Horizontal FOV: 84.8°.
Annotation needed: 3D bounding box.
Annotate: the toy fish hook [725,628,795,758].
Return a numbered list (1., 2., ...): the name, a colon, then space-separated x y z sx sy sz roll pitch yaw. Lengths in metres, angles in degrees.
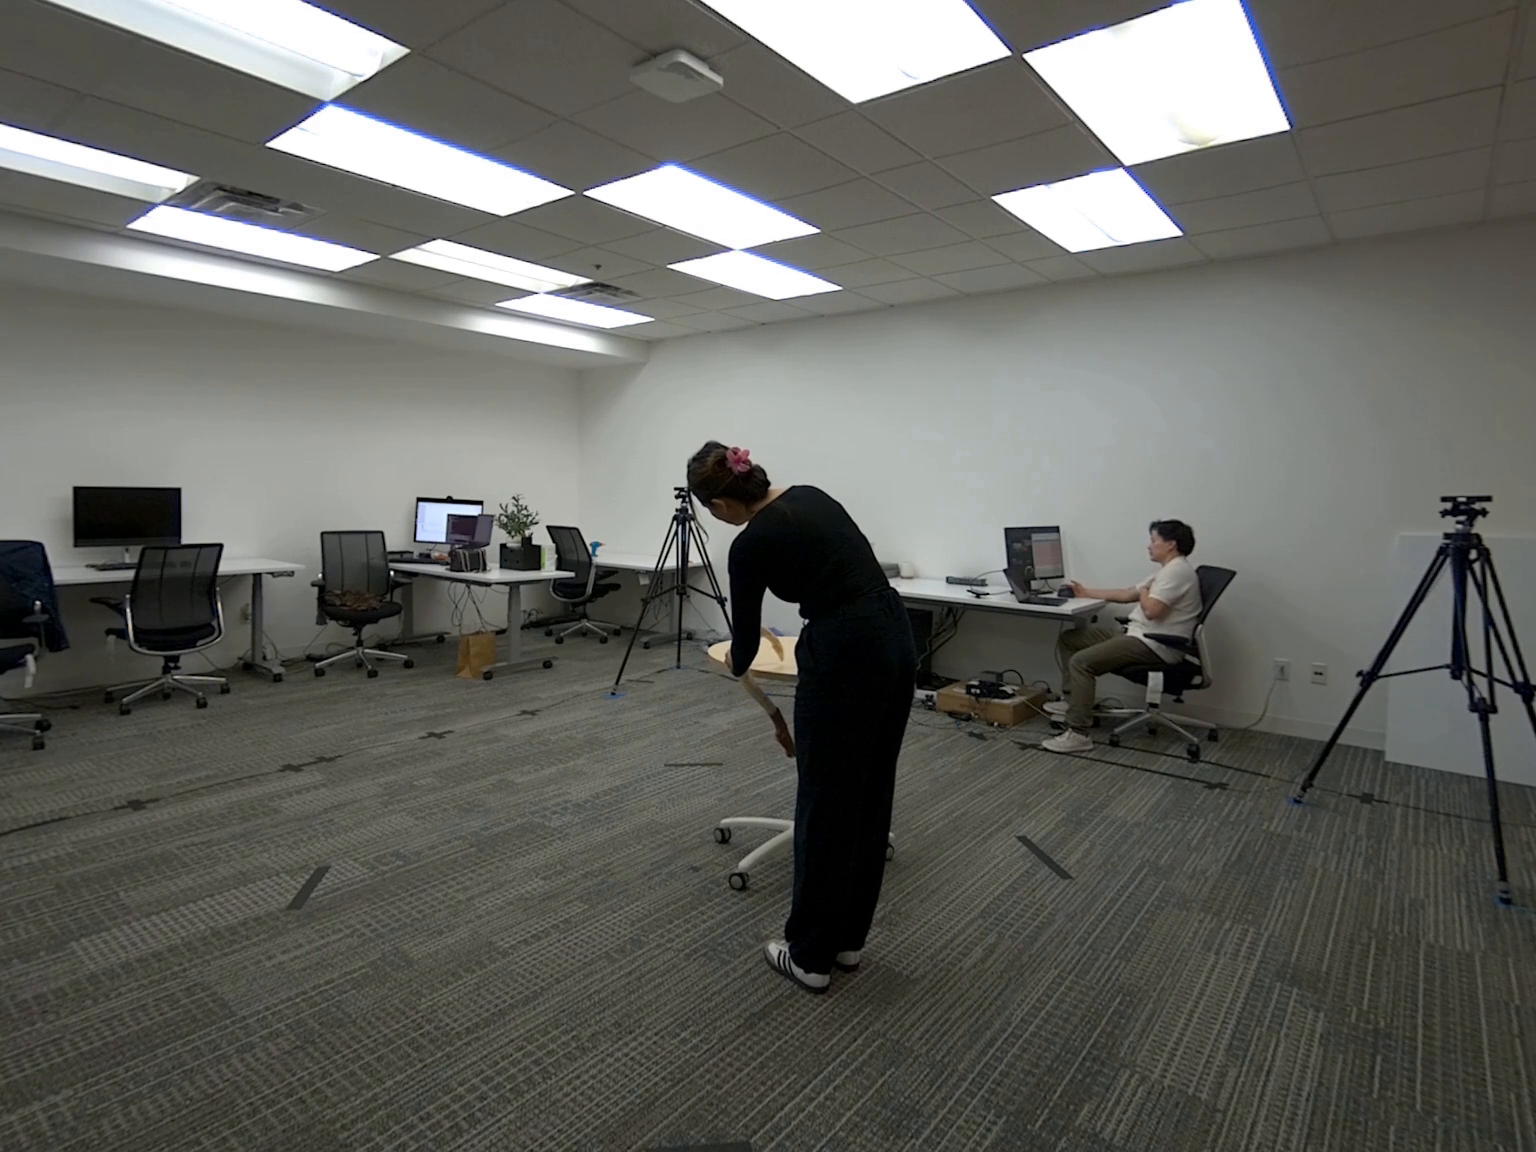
1. toy fish hook: 0.014 0.390 2.913 0.223 0.494 0.050 -39 25 -32
